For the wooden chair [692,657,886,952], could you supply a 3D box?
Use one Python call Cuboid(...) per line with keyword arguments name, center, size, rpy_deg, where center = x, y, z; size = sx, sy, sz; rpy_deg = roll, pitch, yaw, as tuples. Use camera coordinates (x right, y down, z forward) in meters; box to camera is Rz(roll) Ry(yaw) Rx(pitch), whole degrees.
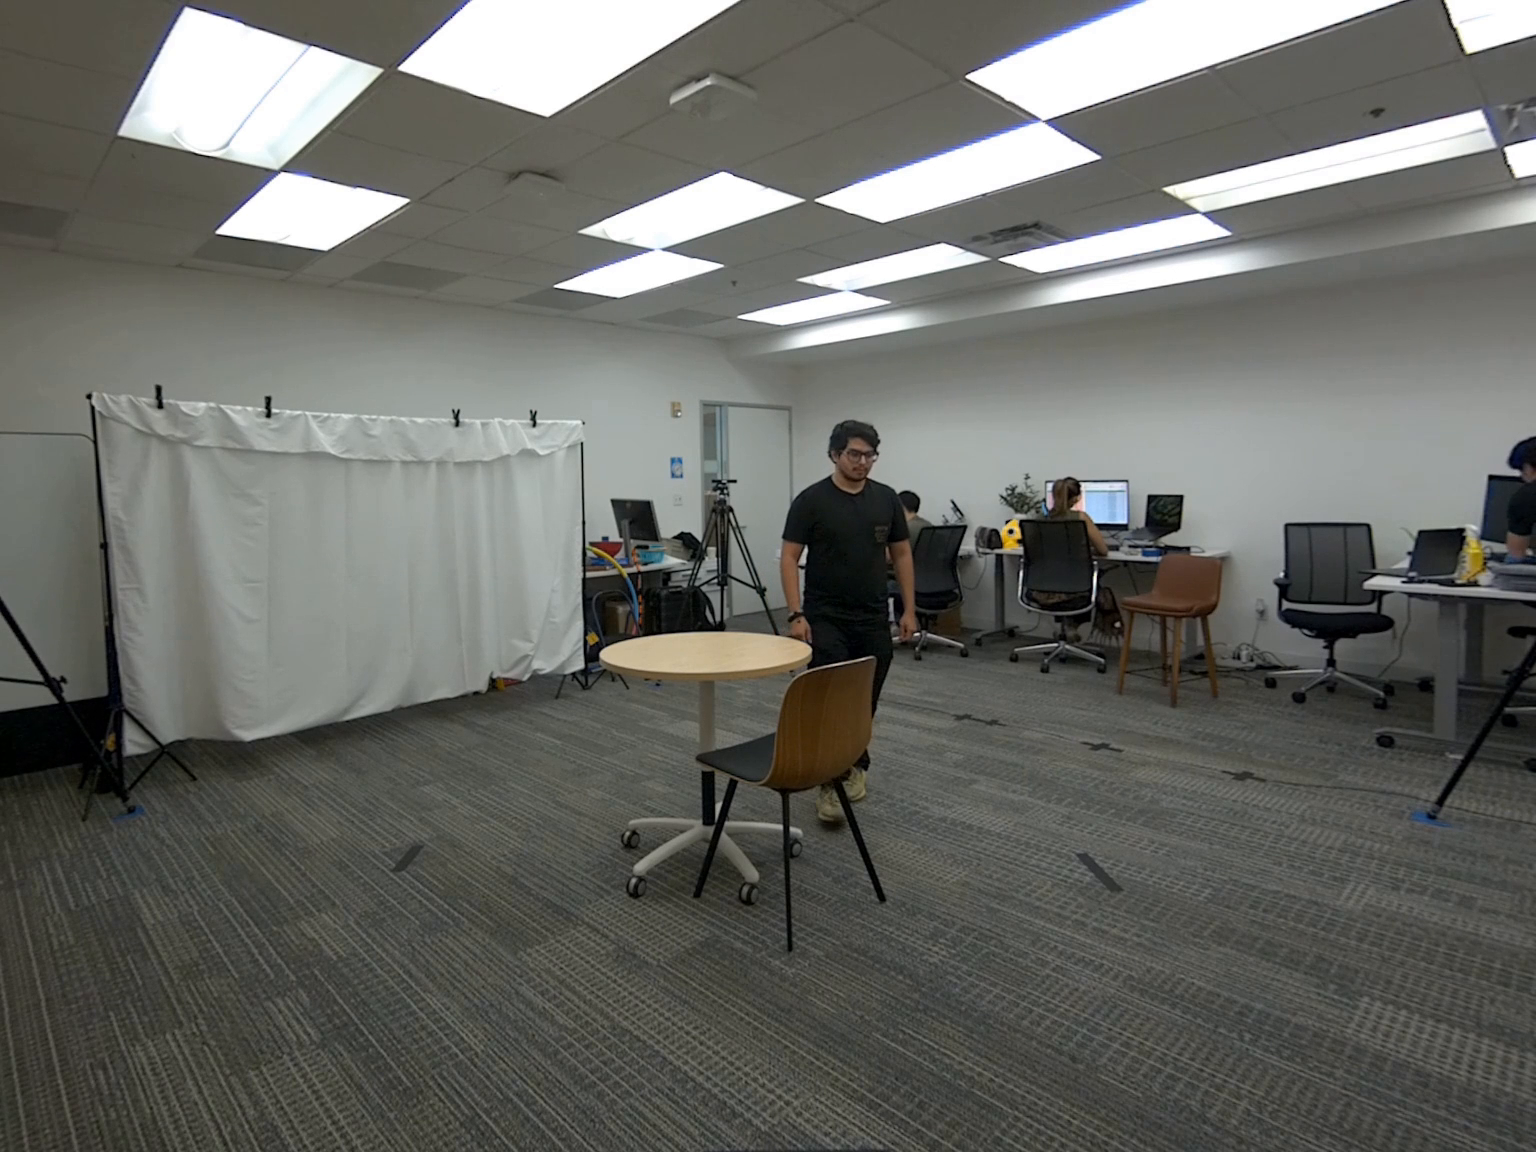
Cuboid(name="wooden chair", center=(0.056, 0.648, 2.815), size=(0.466, 0.871, 0.541), rpy_deg=(-6, 11, -41))
